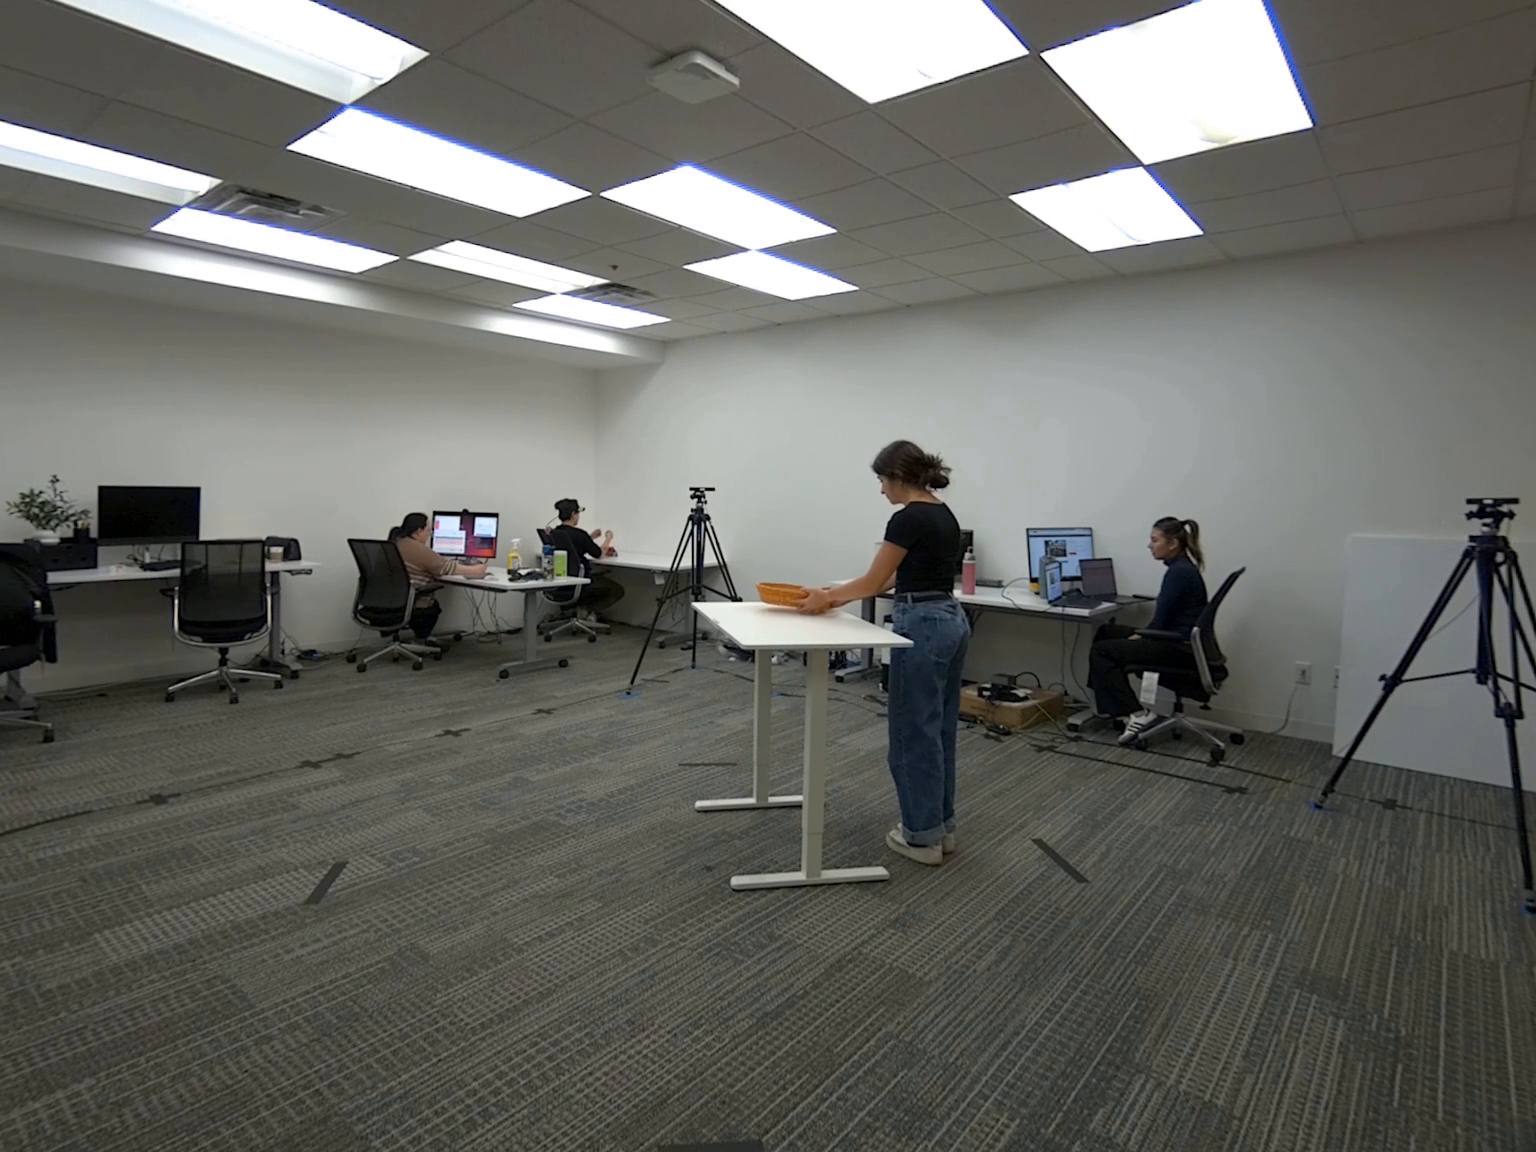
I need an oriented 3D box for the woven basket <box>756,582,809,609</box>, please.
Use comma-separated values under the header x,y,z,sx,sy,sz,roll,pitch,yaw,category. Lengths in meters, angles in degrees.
x,y,z,sx,sy,sz,roll,pitch,yaw,category
0.118,0.085,3.581,0.354,0.073,0.250,6,5,9,woven basket
